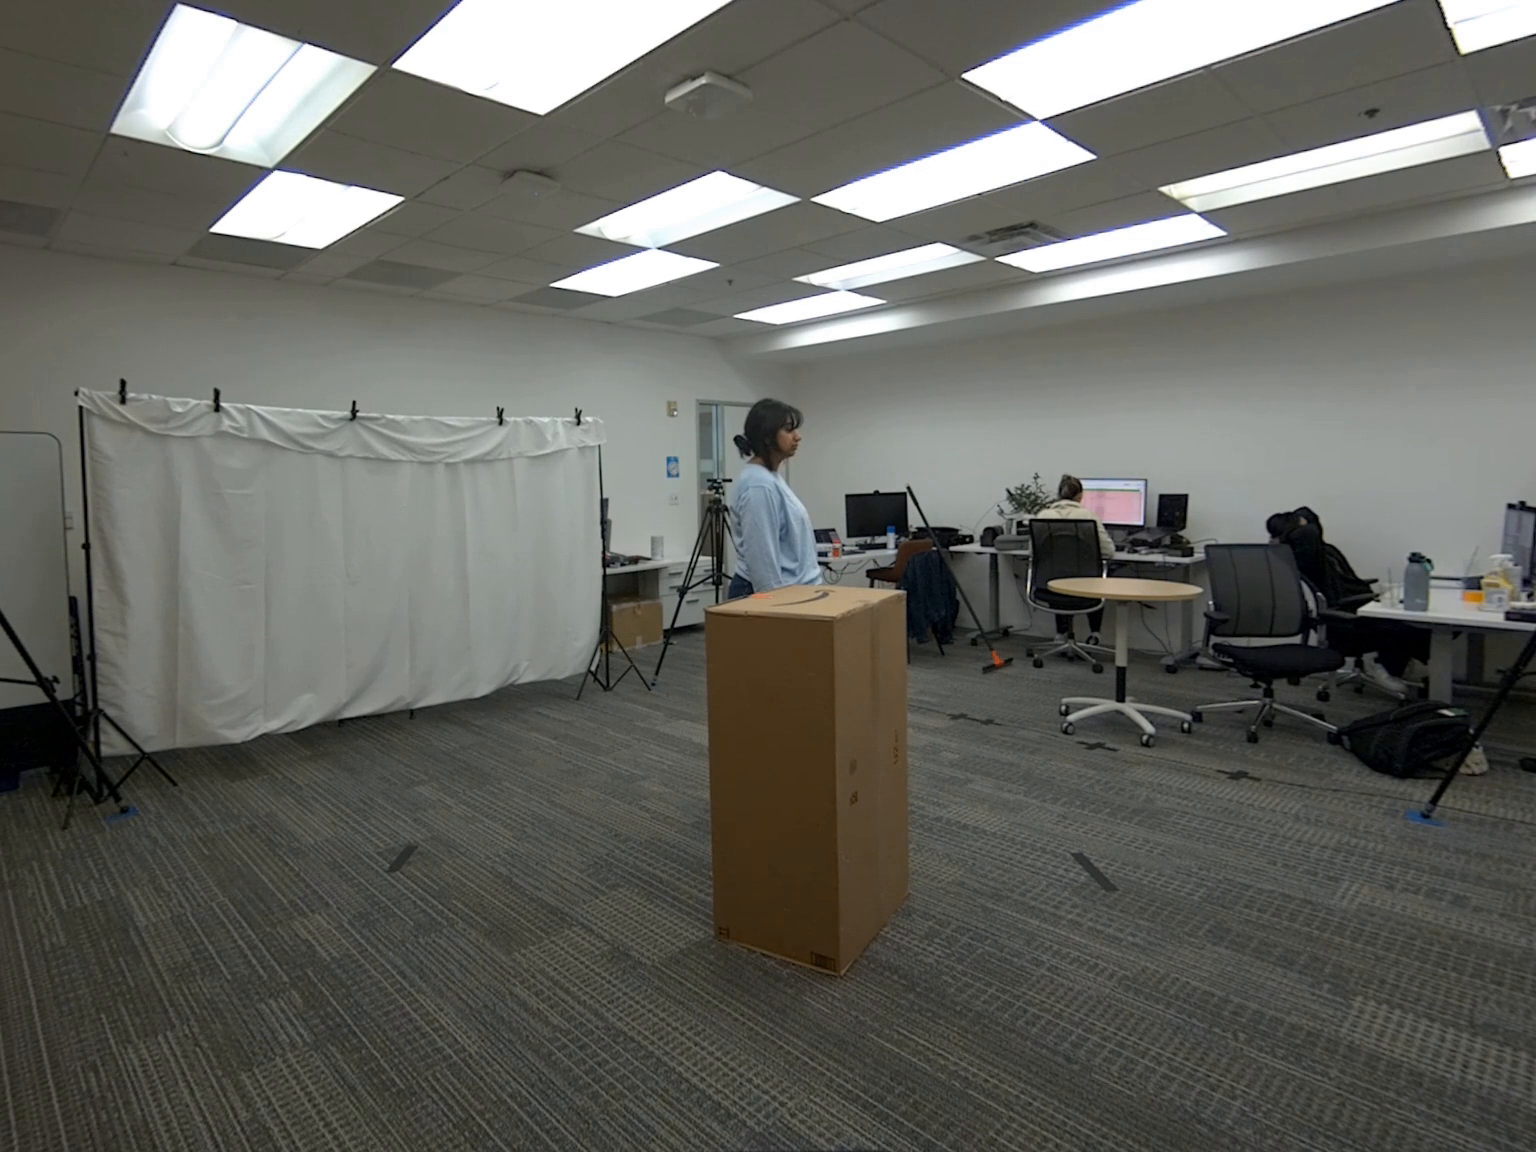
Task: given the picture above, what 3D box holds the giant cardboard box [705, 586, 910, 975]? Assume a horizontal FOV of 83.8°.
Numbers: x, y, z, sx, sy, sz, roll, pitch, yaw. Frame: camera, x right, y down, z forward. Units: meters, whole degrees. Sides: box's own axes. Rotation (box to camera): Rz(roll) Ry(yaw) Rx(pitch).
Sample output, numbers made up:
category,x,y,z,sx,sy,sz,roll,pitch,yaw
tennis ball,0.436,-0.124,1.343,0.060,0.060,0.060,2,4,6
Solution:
category,x,y,z,sx,sy,sz,roll,pitch,yaw
giant cardboard box,0.141,0.581,2.700,0.459,1.022,0.571,2,6,30
